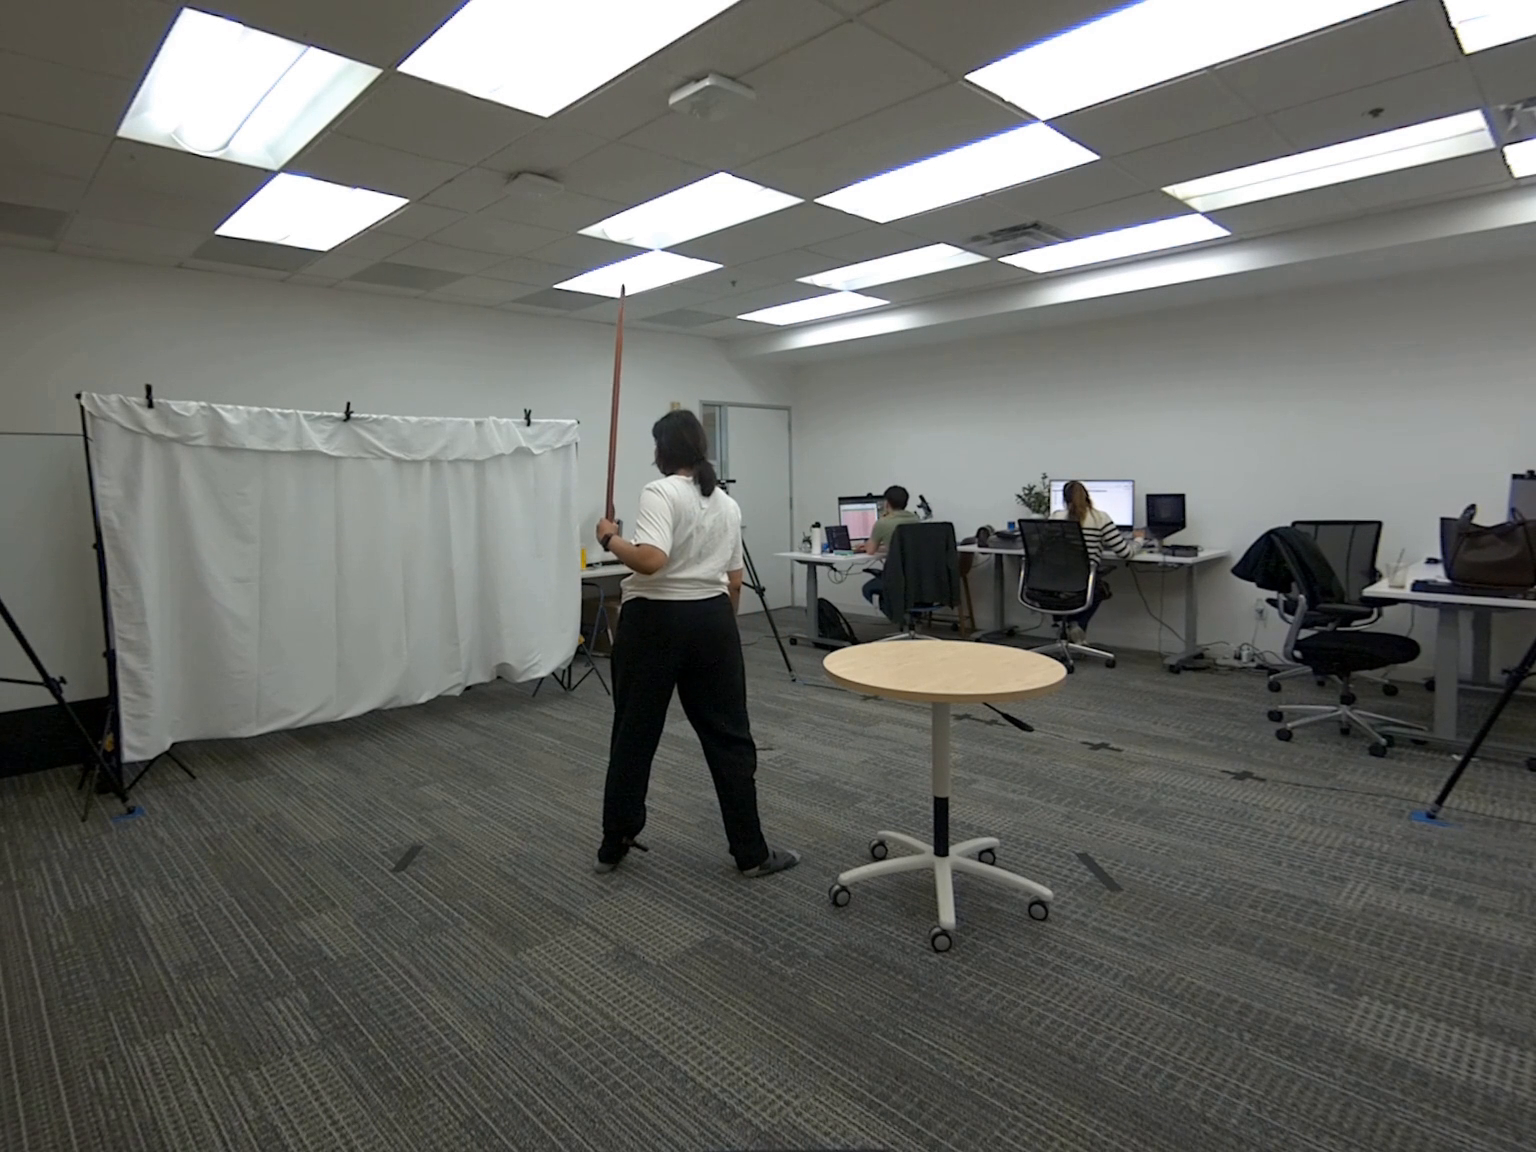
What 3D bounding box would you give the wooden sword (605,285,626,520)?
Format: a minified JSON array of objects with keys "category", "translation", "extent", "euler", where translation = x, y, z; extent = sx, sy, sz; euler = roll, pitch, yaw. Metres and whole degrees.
[{"category":"wooden sword","translation":[-0.576,-0.594,3.138],"extent":[0.024,1.037,0.051],"euler":[3,-13,-9]}]
